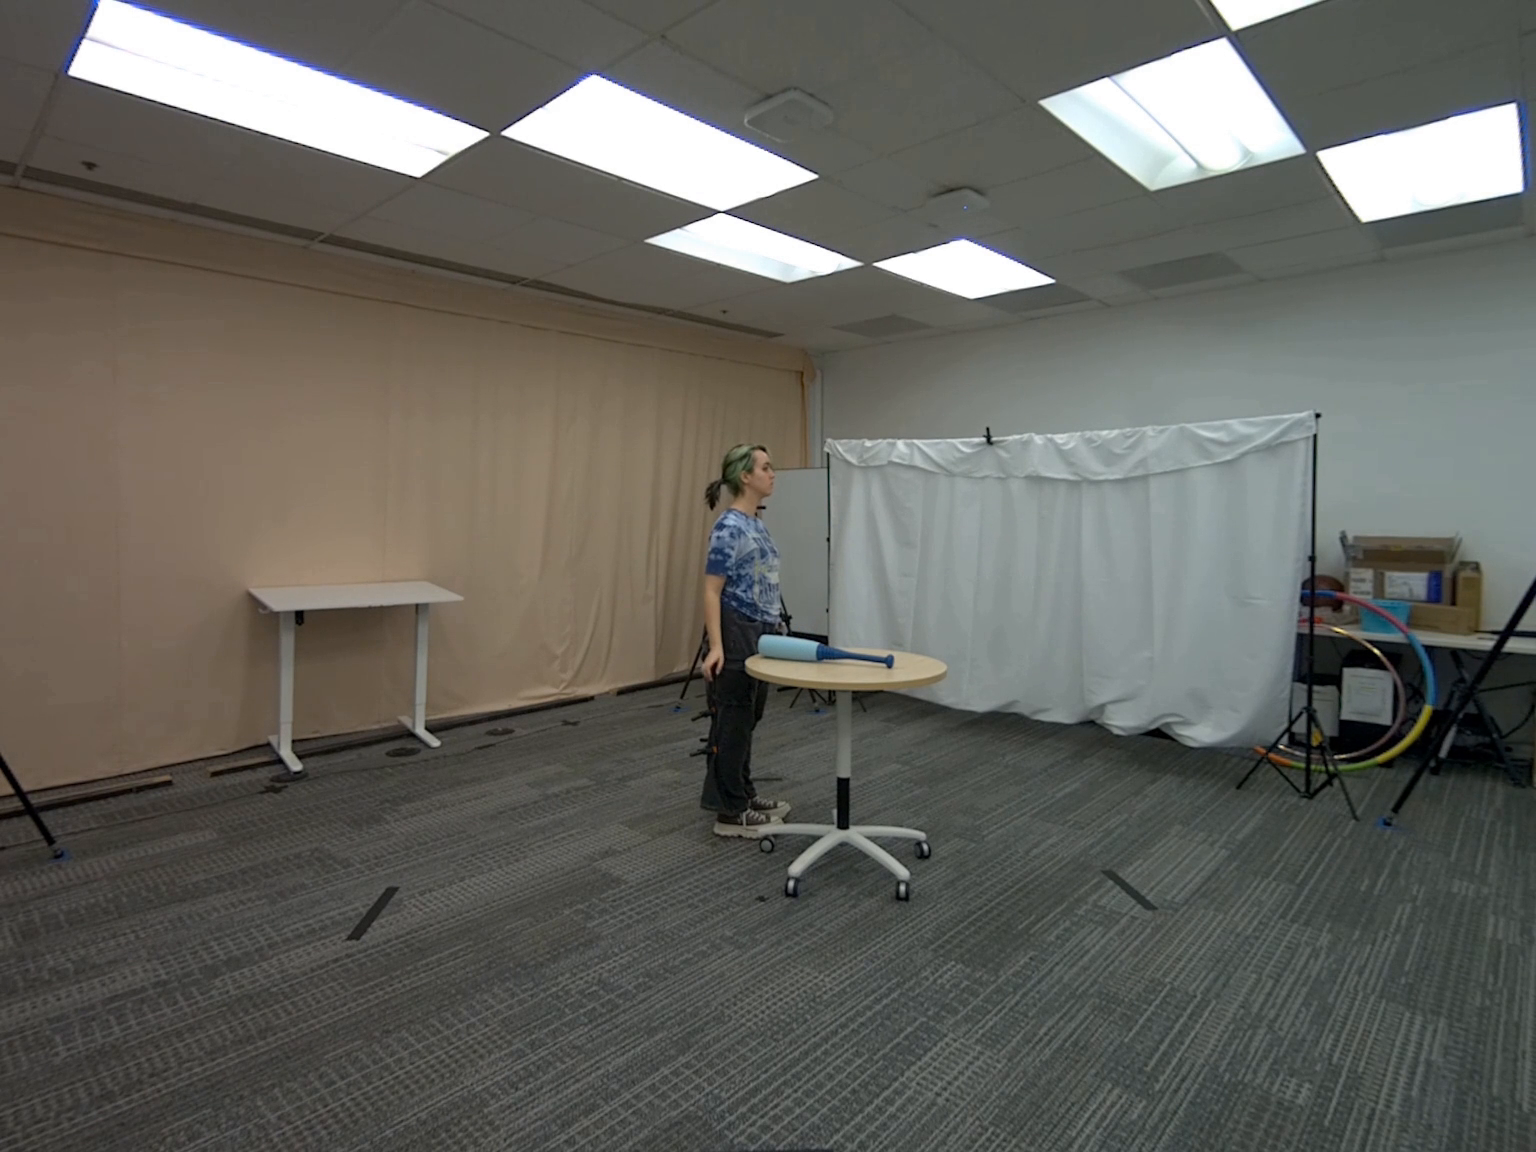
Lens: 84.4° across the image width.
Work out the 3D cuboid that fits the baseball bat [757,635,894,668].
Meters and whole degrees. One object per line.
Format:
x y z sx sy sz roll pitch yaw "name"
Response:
0.224 0.300 3.254 0.557 0.089 0.087 5 5 25 "baseball bat"
